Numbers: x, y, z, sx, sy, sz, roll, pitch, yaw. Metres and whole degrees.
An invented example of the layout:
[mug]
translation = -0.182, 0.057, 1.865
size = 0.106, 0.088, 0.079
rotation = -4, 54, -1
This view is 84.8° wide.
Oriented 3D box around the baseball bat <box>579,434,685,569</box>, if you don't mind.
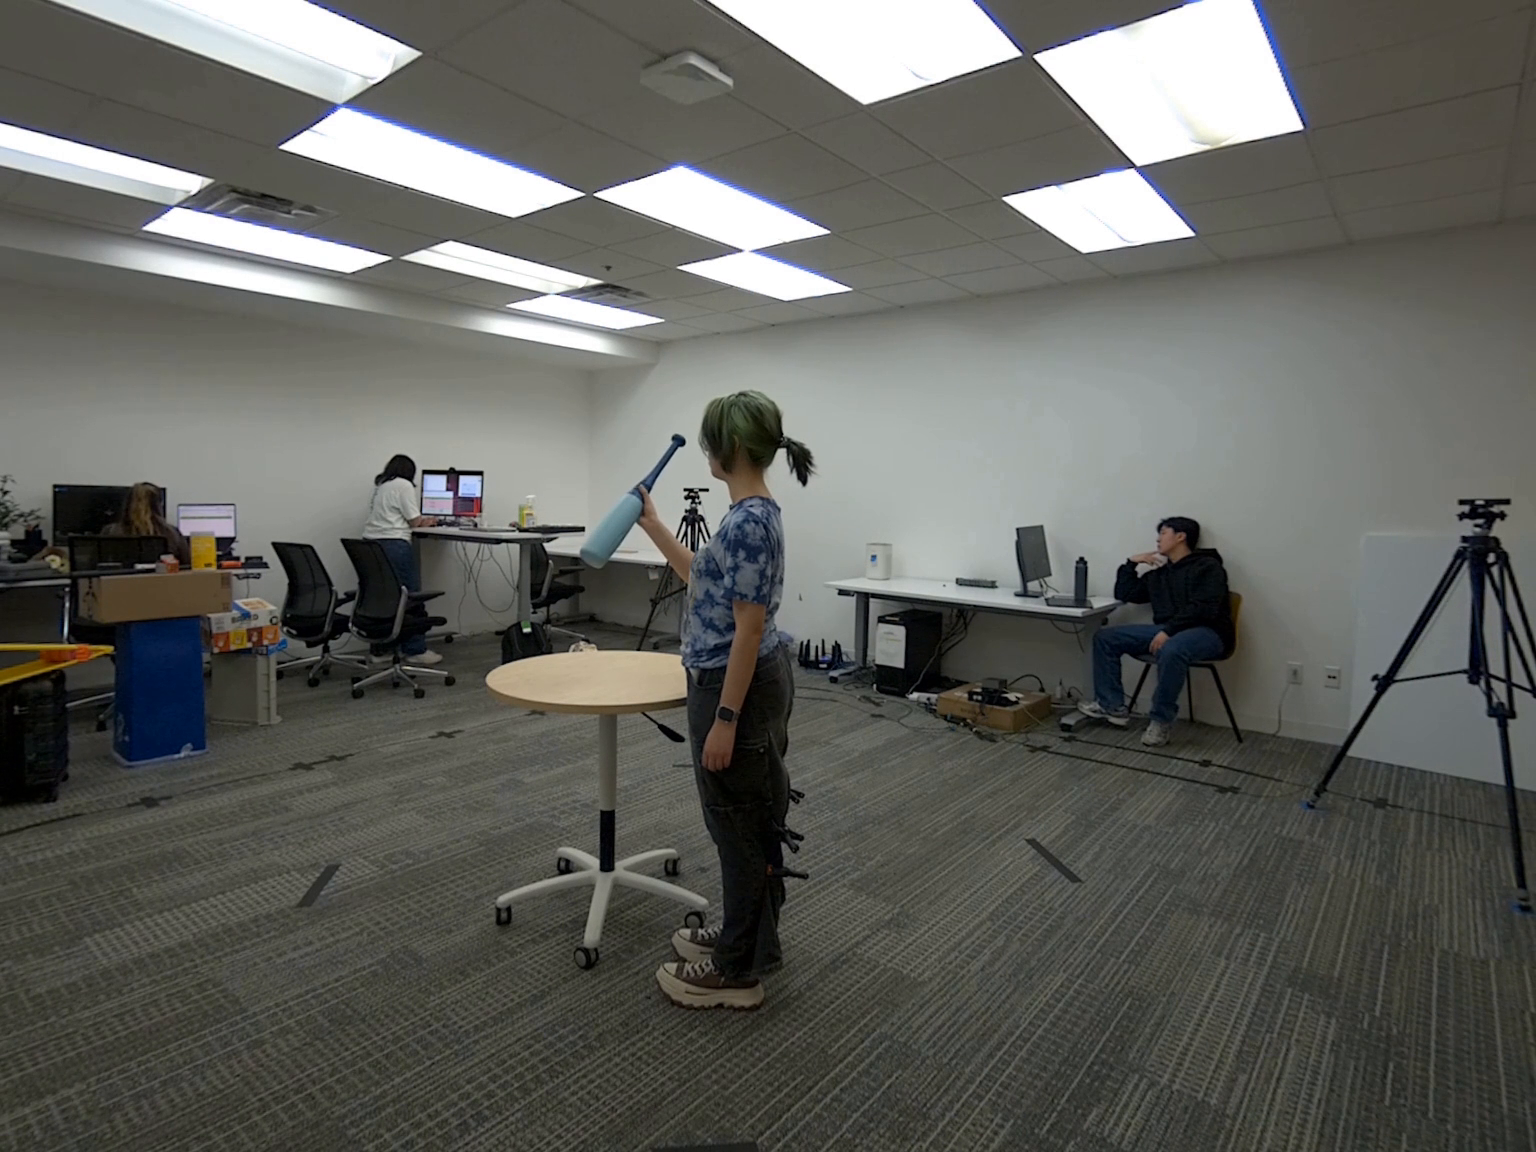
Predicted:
[baseball bat]
translation = -0.413, -0.250, 2.646
size = 0.091, 0.547, 0.087
rotation = 23, -29, 12
